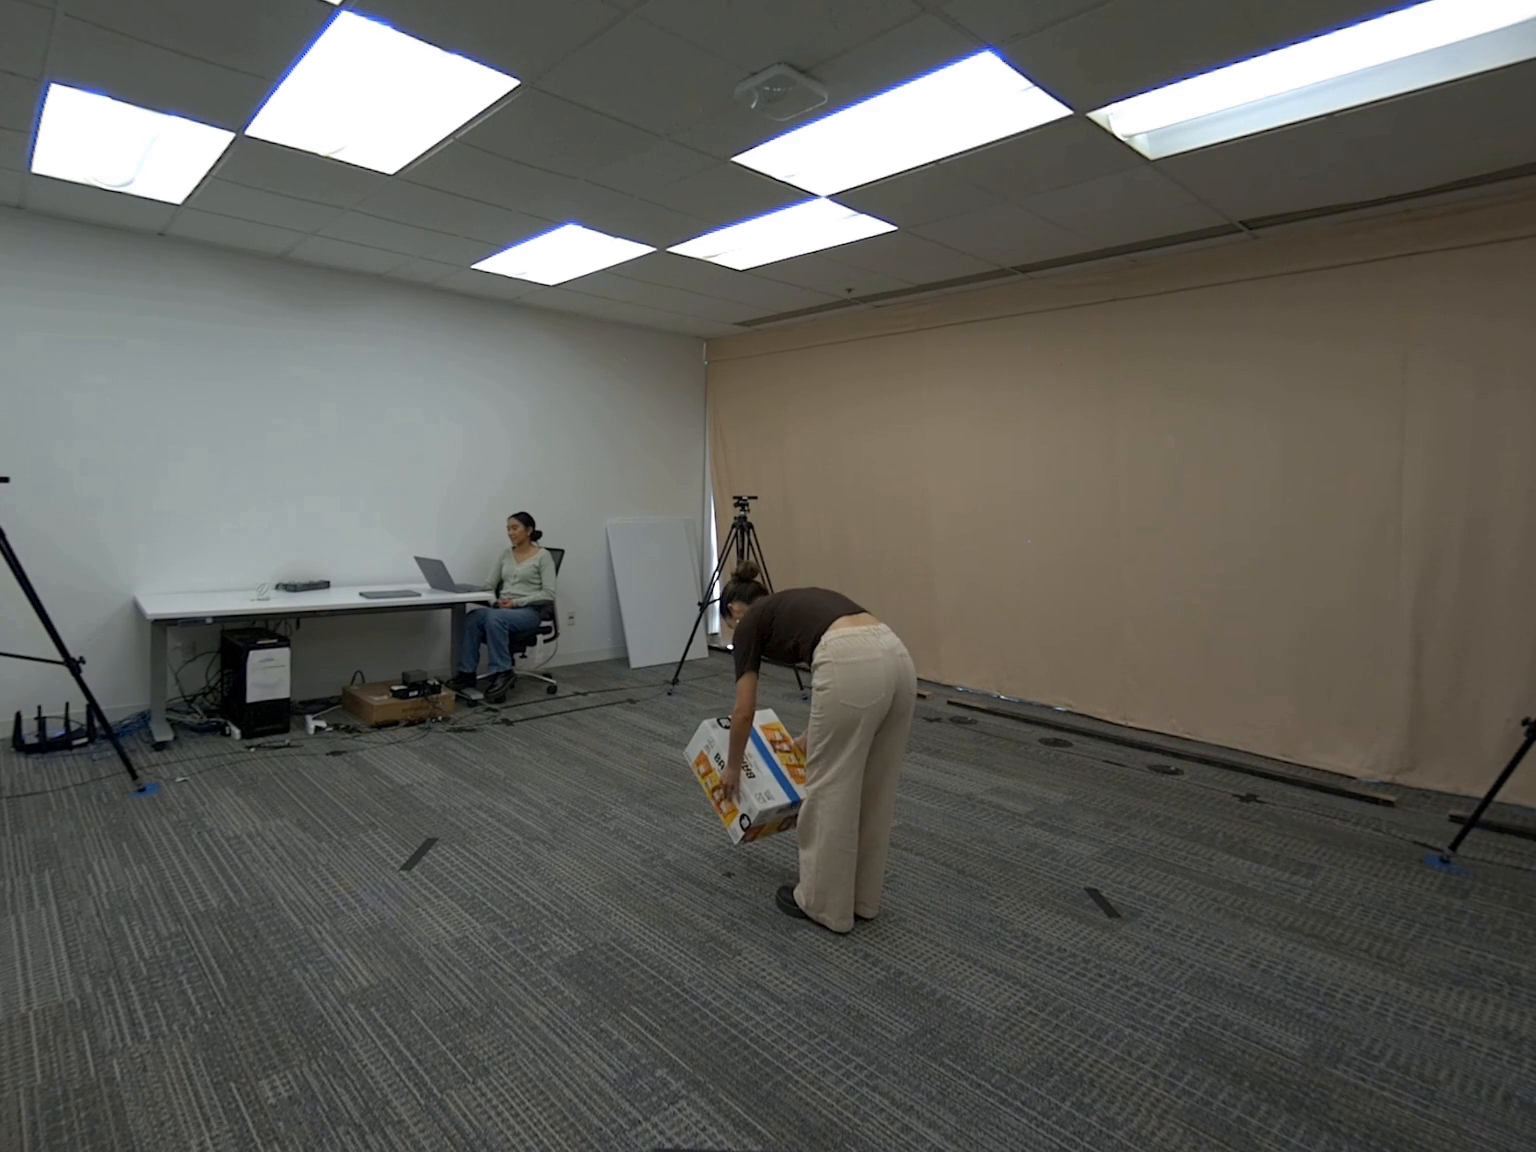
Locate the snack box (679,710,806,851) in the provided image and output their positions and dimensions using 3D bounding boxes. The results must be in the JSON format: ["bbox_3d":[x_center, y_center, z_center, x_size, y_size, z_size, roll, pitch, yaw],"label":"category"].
[{"bbox_3d":[-0.059,0.737,3.119,0.332,0.204,0.417,0,42,-41],"label":"snack box"}]
